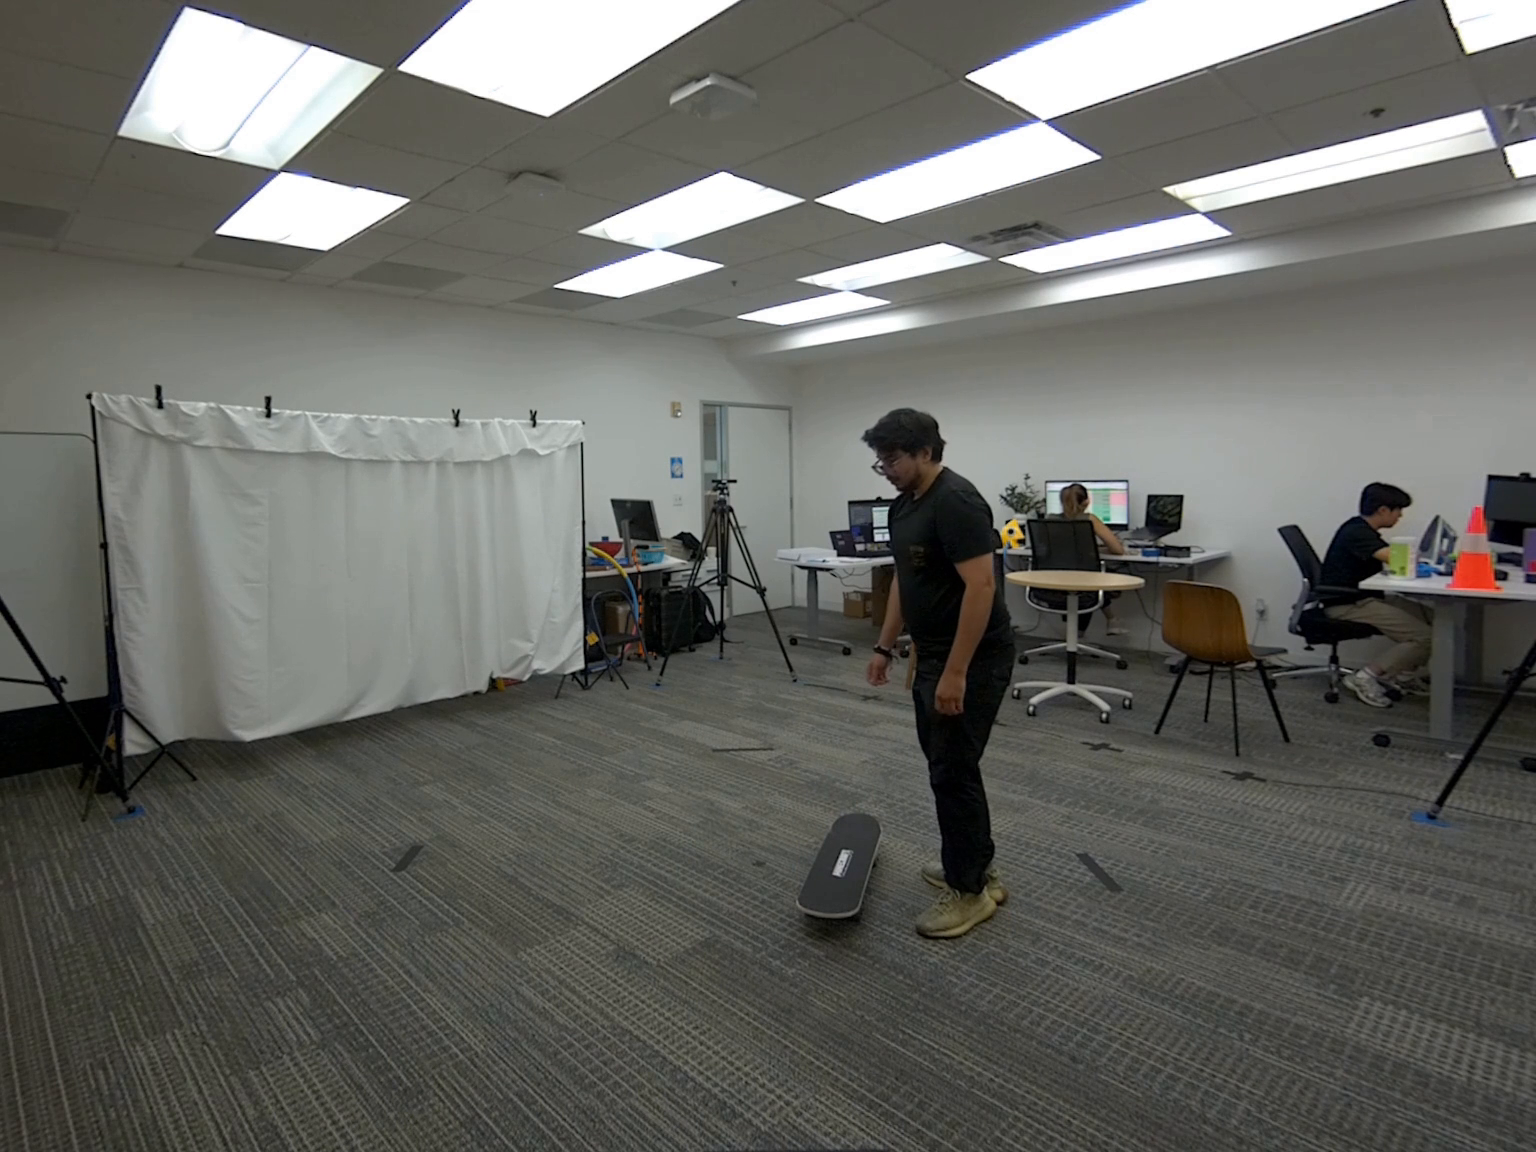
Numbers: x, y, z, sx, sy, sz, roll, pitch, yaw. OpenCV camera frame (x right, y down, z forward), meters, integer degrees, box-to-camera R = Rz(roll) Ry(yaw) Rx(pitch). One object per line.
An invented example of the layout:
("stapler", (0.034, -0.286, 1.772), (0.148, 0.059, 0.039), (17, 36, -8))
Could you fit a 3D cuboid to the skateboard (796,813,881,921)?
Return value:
("skateboard", (0.256, 1.005, 2.910), (0.196, 0.110, 0.777), (0, 7, 14))
